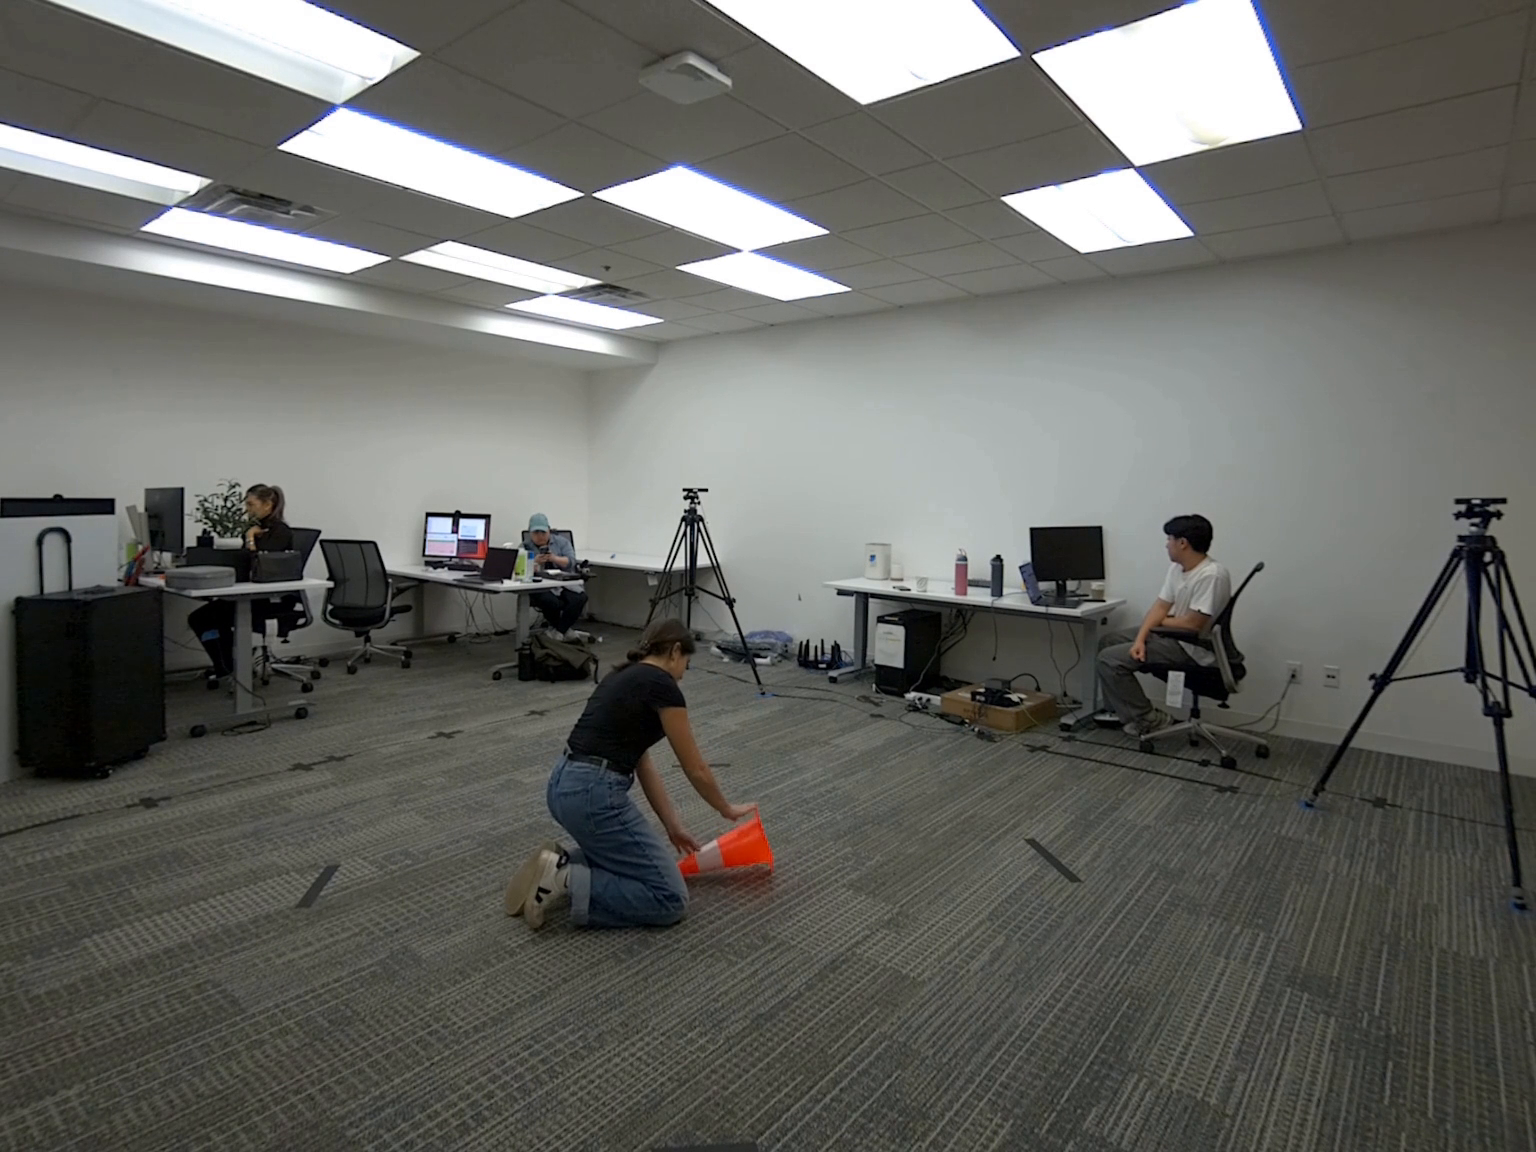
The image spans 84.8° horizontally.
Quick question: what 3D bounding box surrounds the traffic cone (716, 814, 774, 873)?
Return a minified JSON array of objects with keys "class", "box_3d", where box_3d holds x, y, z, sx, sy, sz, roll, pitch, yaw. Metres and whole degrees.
[{"class":"traffic cone","box_3d":[-0.191,1.023,3.045,0.381,0.211,0.198,-21,-34,-9]}]
